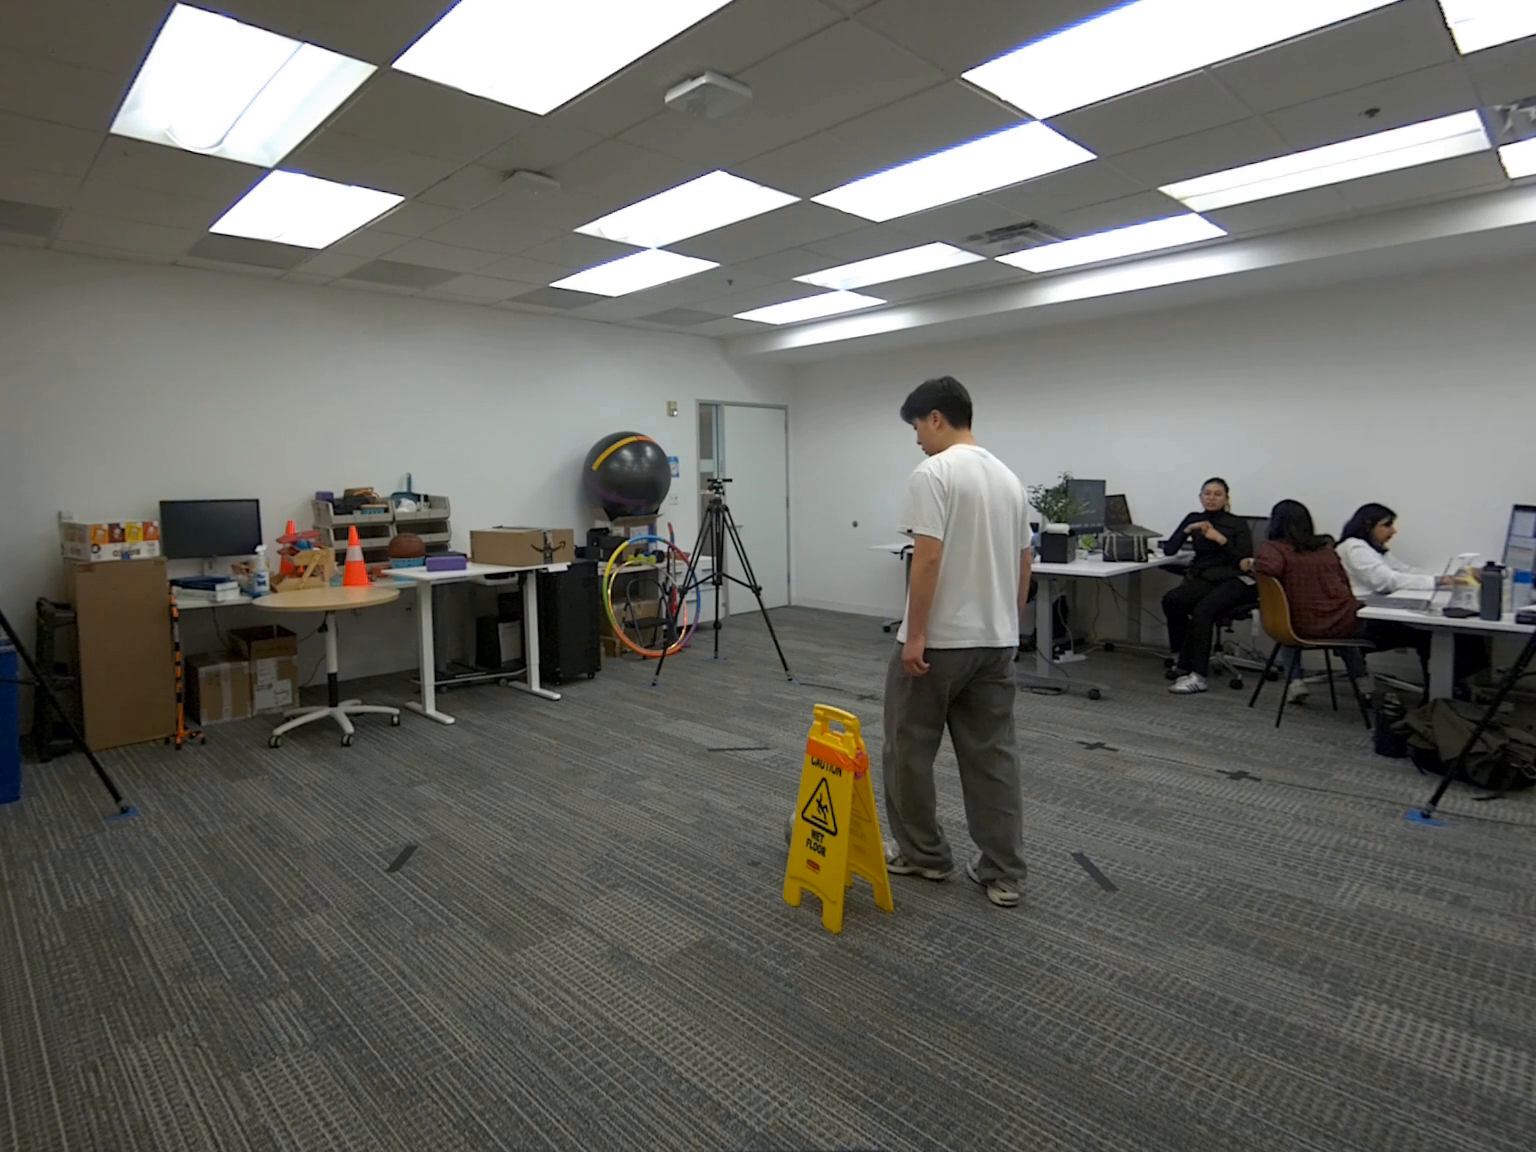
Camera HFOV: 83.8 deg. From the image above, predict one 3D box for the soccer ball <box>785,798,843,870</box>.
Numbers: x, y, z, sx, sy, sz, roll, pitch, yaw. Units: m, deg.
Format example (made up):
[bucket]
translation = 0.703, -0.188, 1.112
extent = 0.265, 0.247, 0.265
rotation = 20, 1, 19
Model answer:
[soccer ball]
translation = 0.164, 0.945, 3.157
extent = 0.187, 0.187, 0.188
rotation = -1, 5, -2
